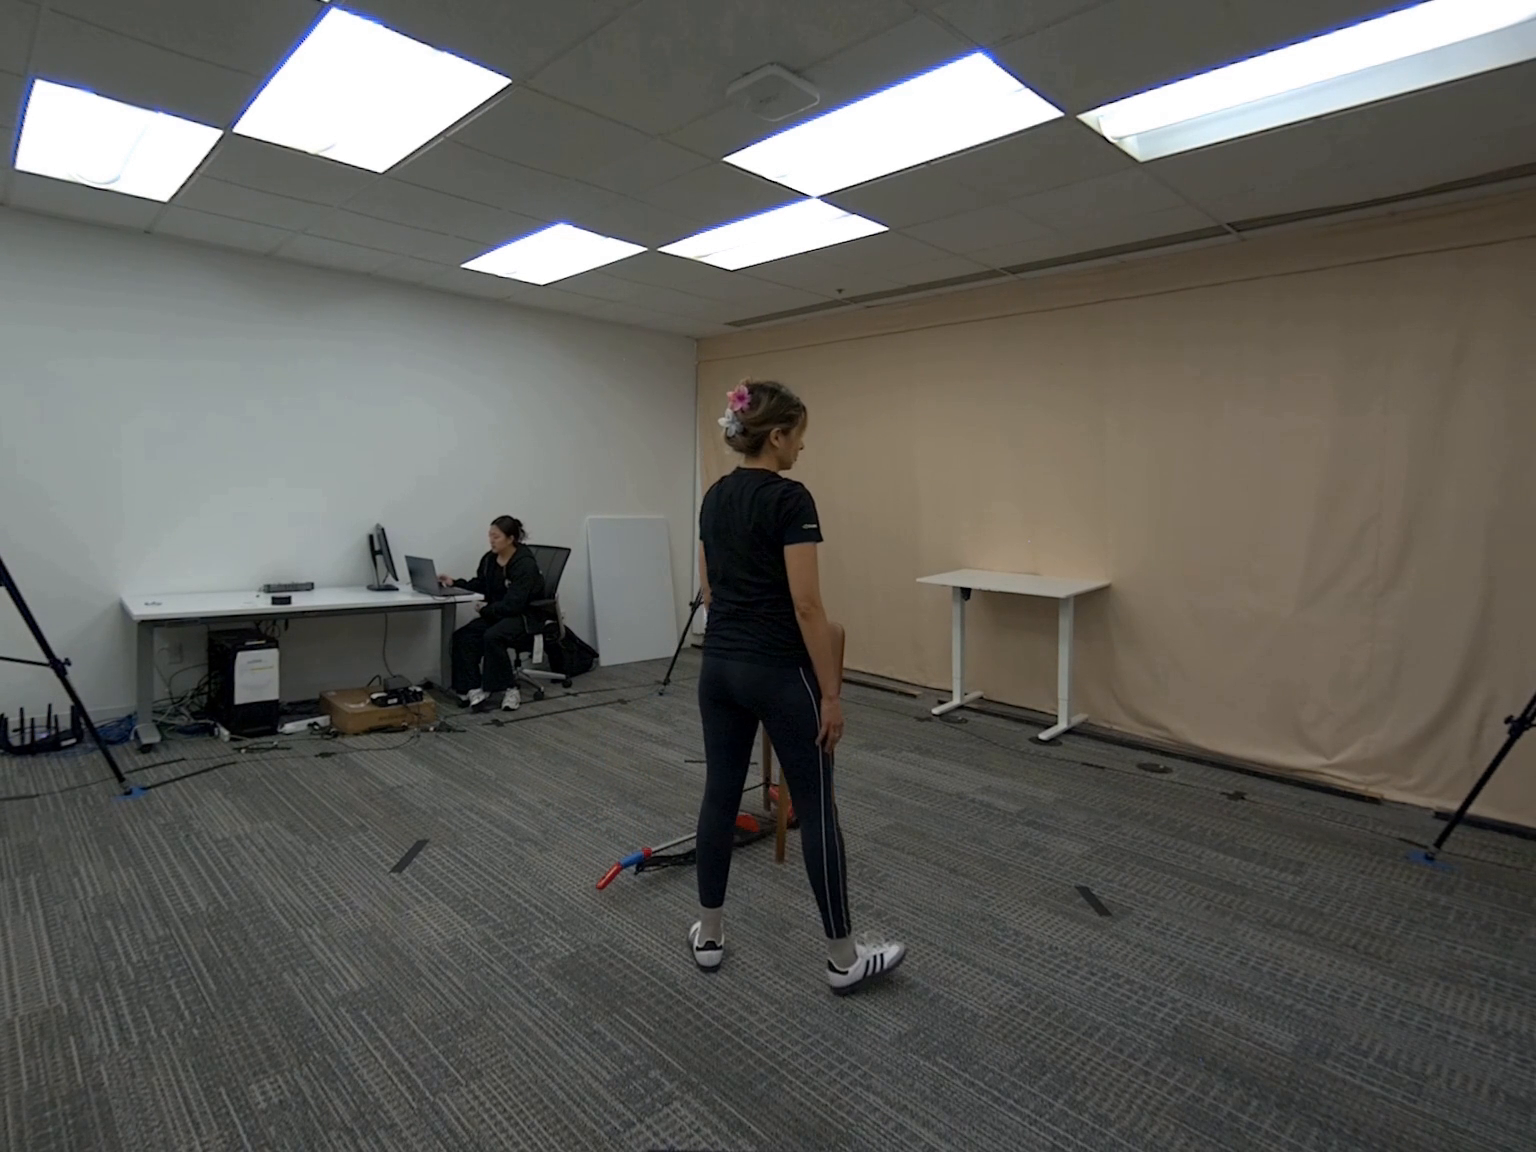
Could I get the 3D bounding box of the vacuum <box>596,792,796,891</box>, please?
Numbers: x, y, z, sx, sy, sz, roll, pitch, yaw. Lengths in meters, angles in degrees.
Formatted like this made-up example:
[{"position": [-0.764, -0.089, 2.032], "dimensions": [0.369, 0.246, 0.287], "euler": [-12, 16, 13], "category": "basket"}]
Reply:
[{"position": [-0.252, 1.034, 3.228], "dimensions": [0.259, 0.143, 1.026], "euler": [5, 7, 41], "category": "vacuum"}]
